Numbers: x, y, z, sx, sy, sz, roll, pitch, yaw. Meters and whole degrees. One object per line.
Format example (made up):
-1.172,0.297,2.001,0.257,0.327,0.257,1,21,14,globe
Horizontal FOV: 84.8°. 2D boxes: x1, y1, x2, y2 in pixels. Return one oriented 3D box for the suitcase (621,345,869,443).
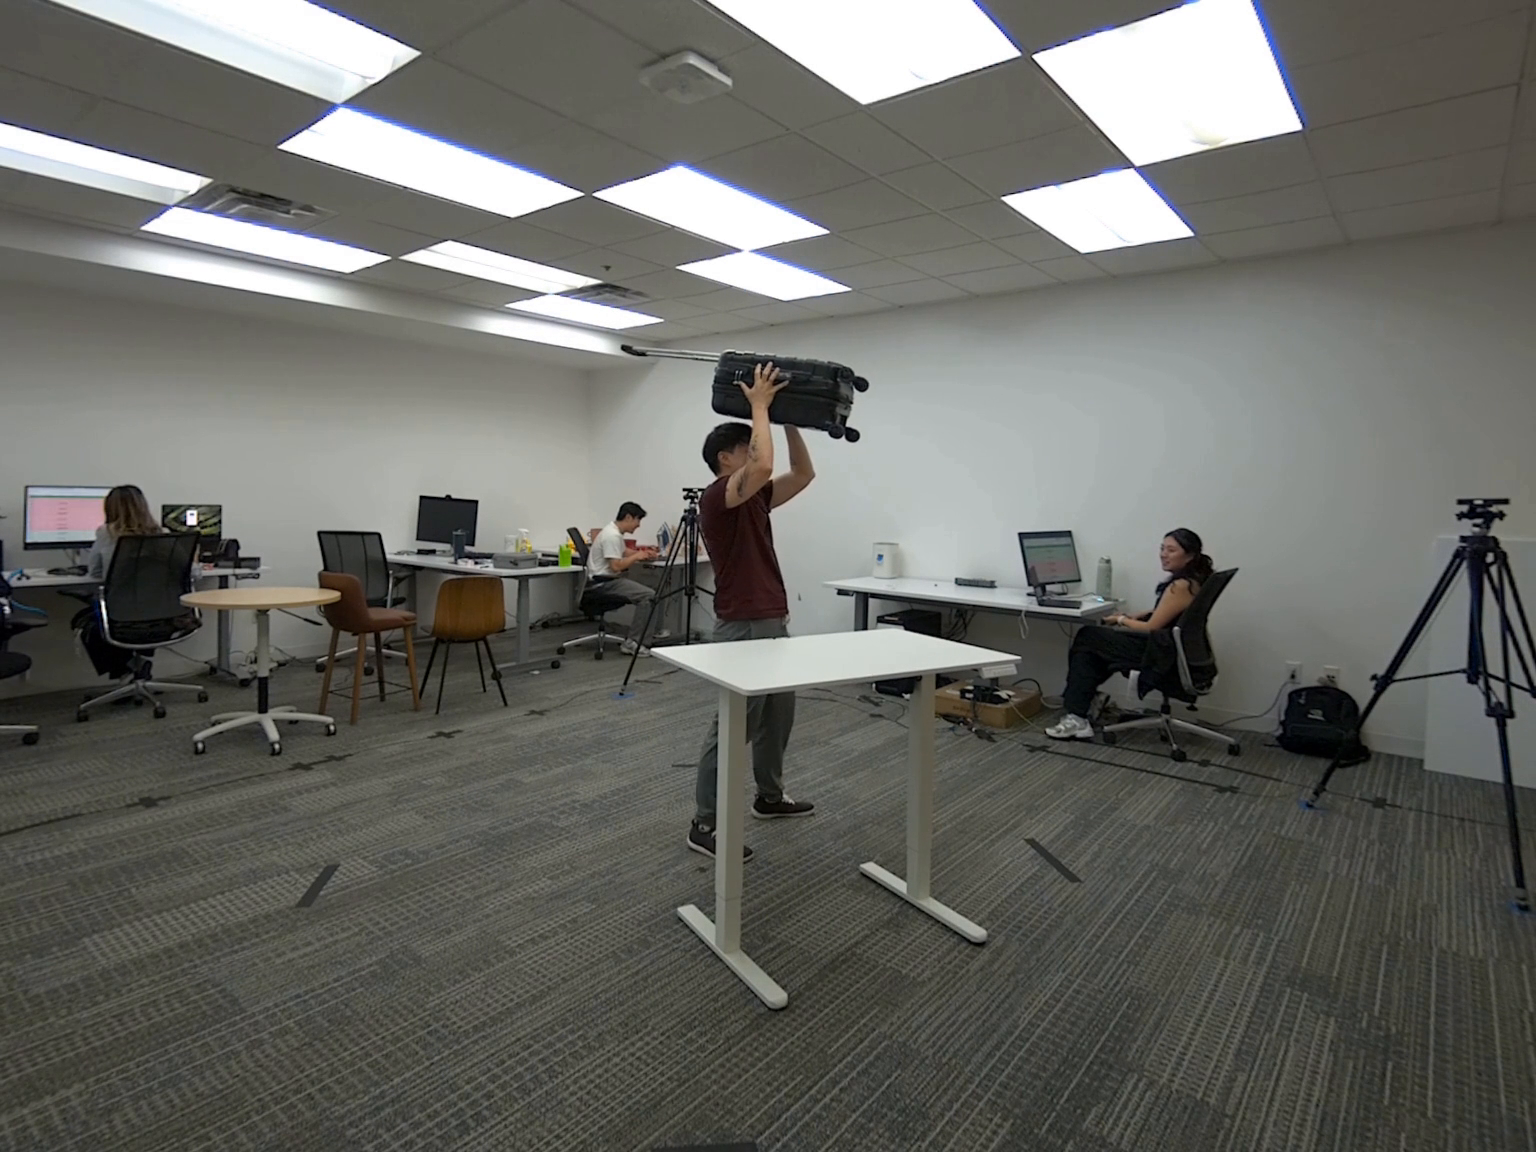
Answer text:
-0.132,-0.750,3.360,1.001,0.255,0.377,12,8,18,suitcase
